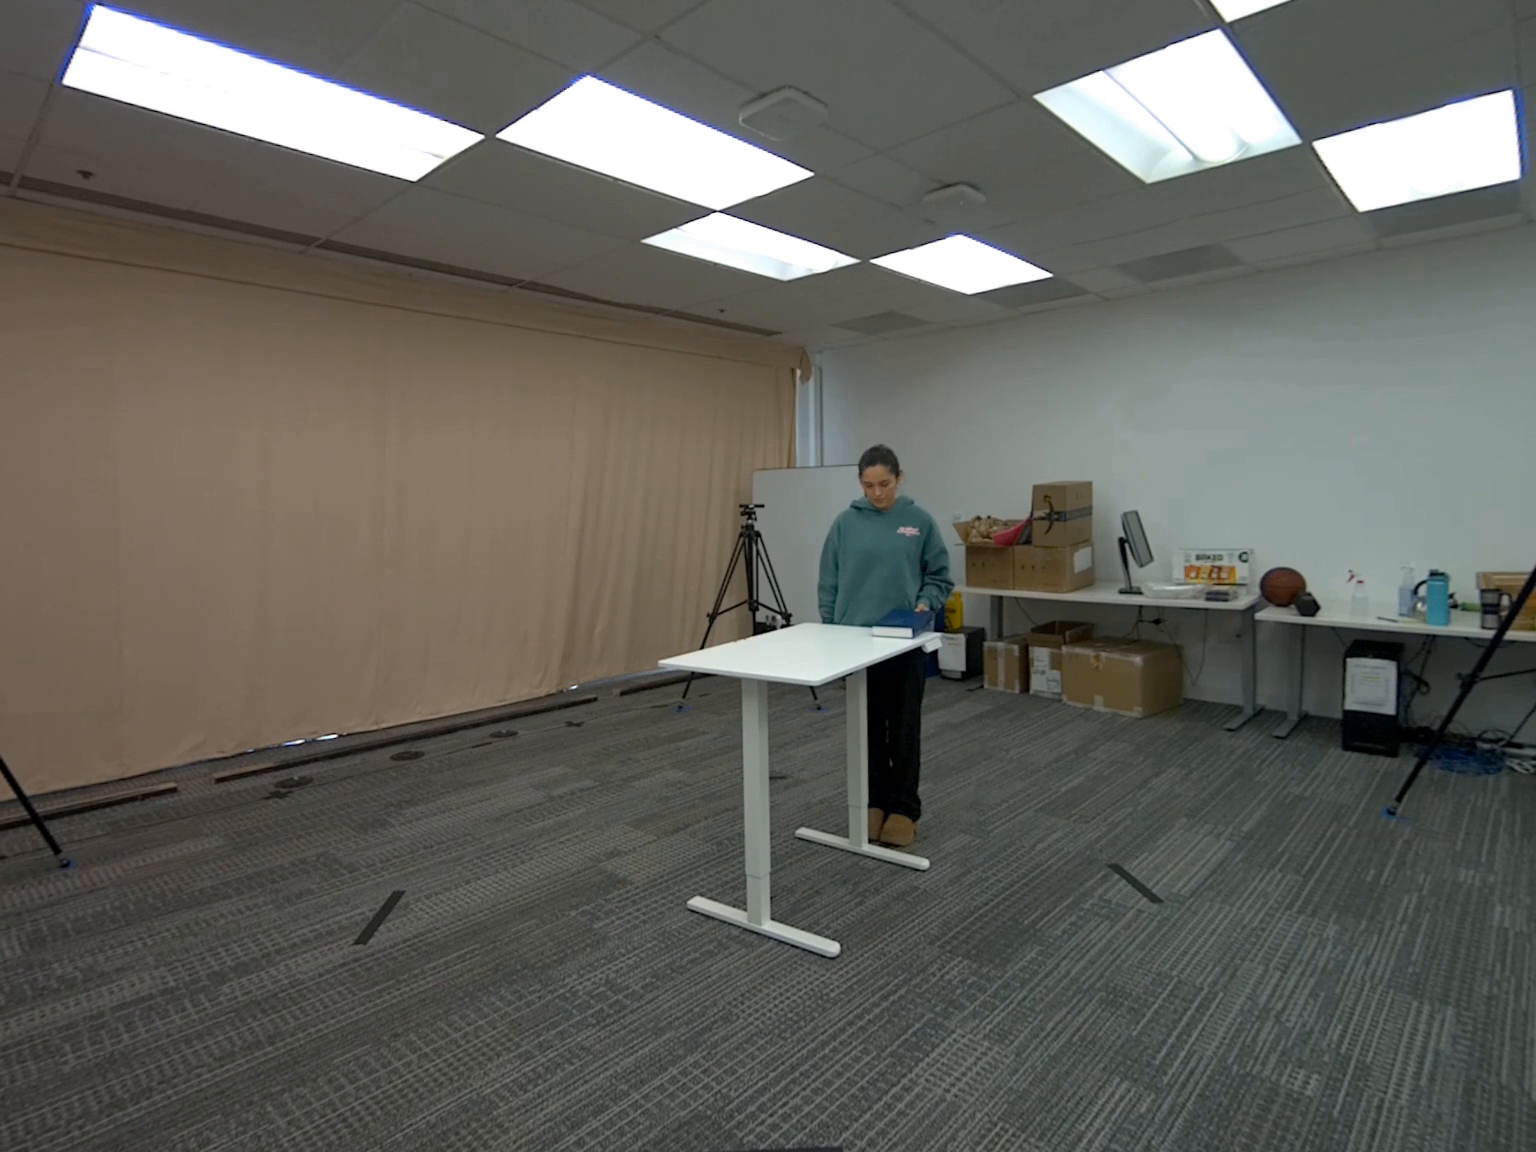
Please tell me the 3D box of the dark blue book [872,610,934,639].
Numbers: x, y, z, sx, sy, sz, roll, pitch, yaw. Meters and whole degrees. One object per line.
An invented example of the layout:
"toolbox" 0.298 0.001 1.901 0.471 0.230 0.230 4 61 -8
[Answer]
"dark blue book" 0.521 0.186 3.255 0.168 0.045 0.240 1 13 29
